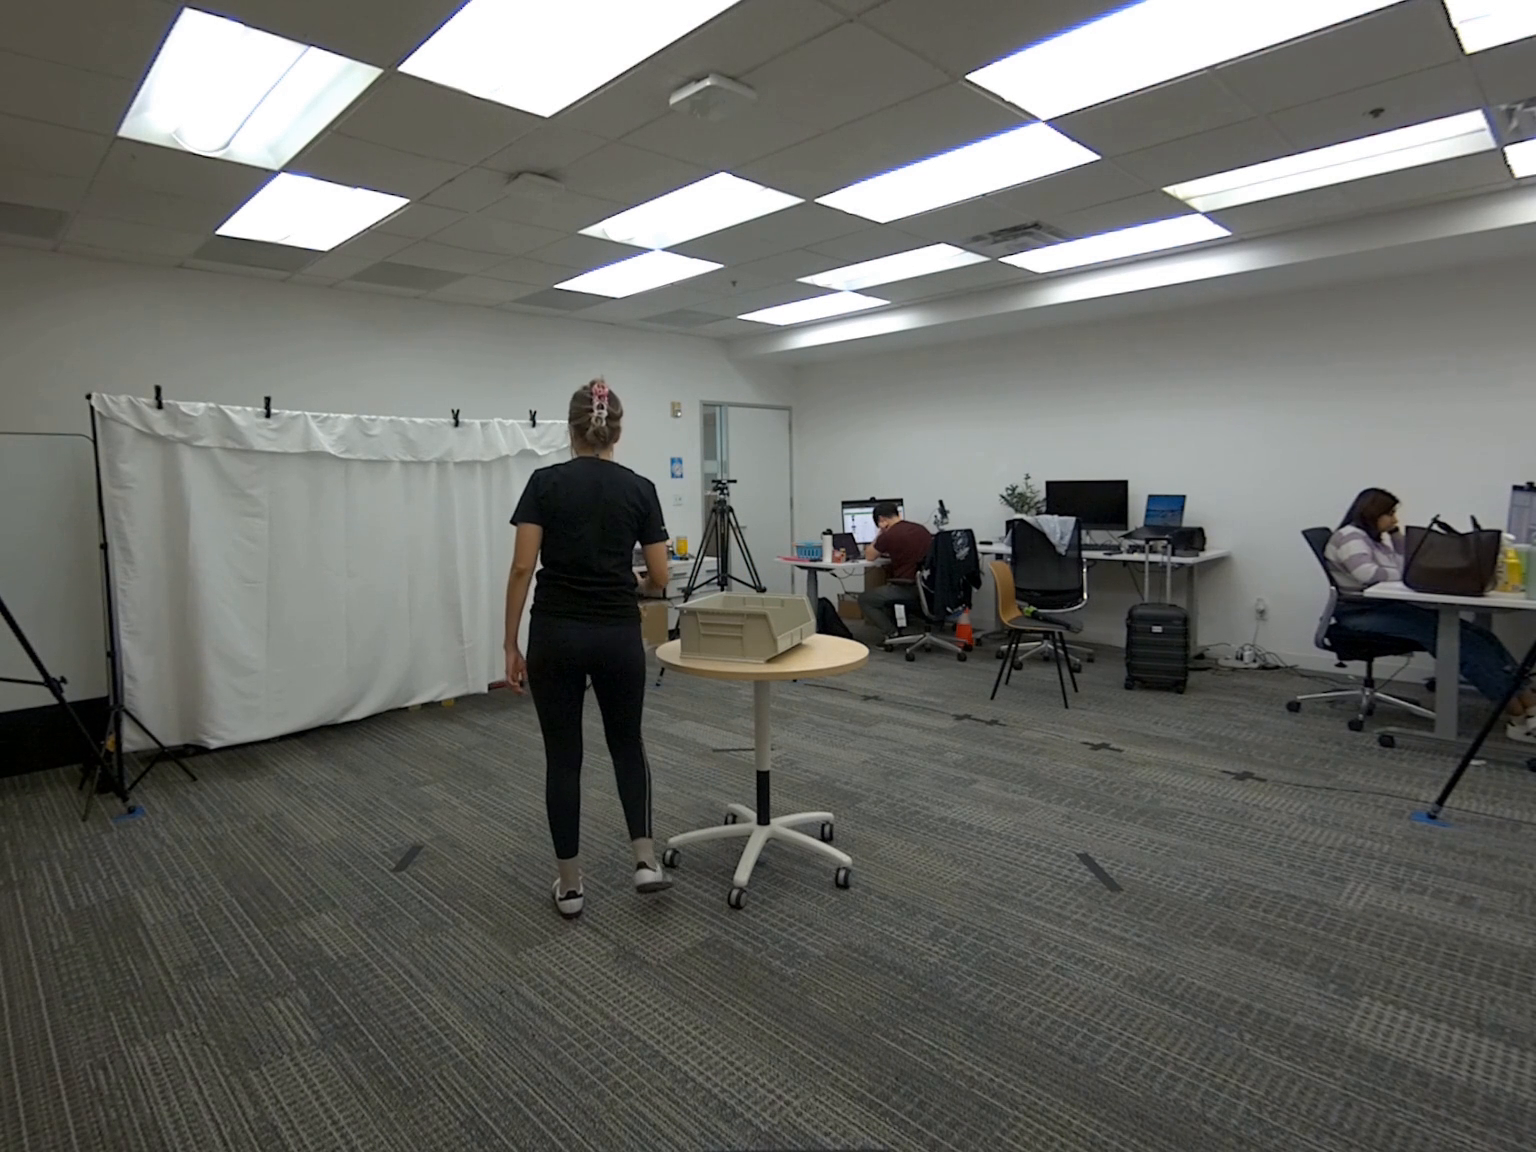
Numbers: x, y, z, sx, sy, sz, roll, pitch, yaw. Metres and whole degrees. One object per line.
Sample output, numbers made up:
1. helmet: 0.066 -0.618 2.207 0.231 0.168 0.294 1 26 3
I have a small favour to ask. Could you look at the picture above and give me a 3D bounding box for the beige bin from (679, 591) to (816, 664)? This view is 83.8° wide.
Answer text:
1. beige bin: -0.069 0.180 3.068 0.385 0.188 0.416 0 6 21
